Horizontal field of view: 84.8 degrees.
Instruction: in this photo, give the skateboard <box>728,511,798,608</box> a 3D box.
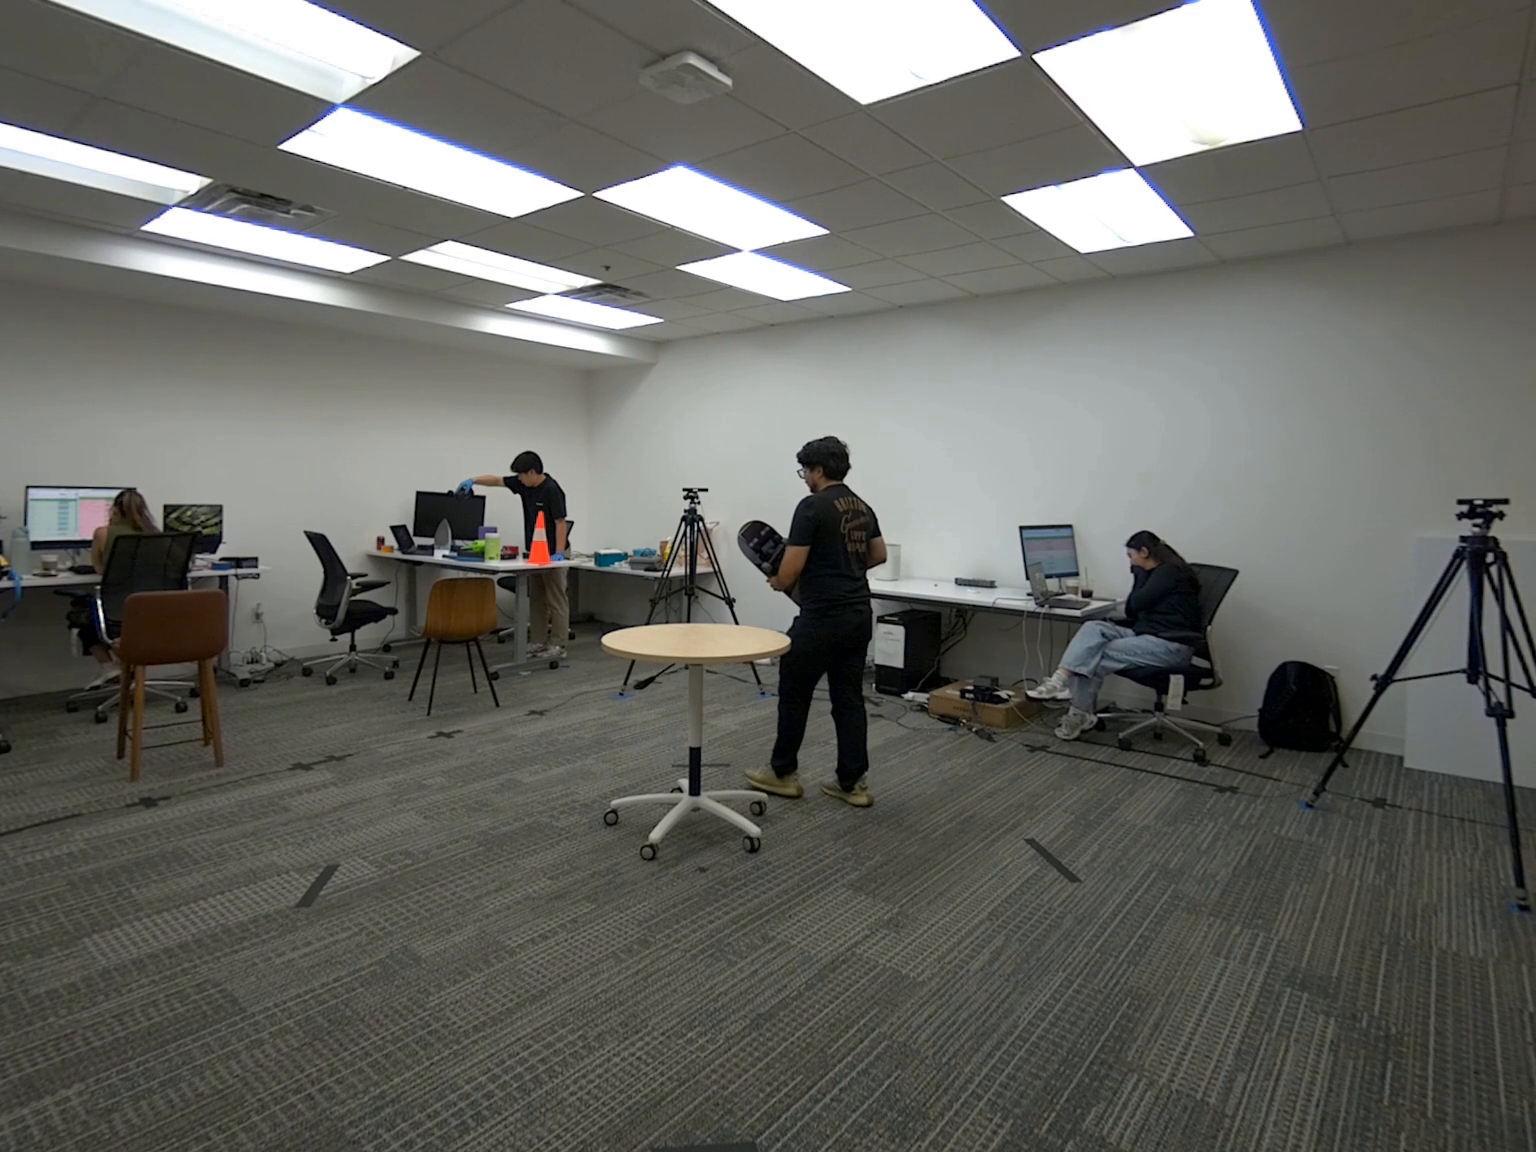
[{"bbox_3d":[0.157,0.021,4.051,0.766,0.193,0.113,44,-13,-18],"label":"skateboard"}]
